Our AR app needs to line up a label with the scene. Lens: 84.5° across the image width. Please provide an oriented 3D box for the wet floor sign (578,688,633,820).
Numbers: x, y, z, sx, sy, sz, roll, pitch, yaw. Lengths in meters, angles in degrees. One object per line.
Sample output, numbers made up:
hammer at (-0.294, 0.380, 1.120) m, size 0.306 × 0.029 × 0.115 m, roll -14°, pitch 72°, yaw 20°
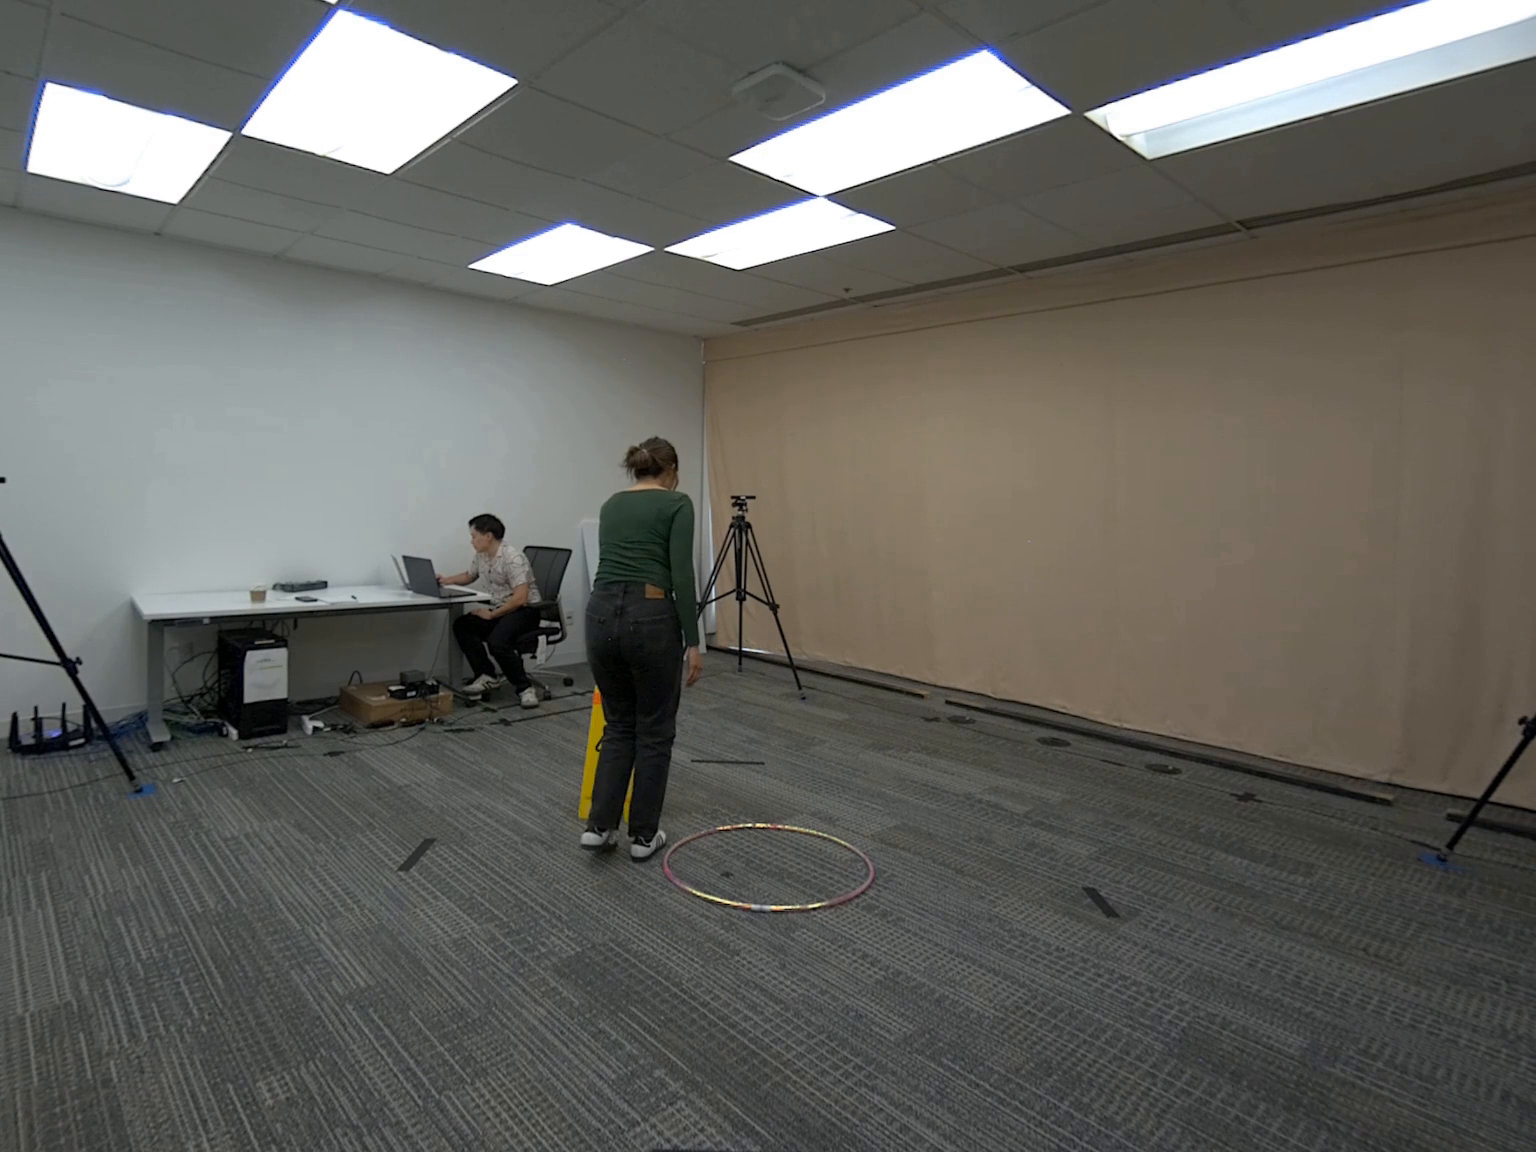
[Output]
wet floor sign at (-0.663, 0.716, 3.722) m, size 0.284 × 0.644 × 0.288 m, roll 2°, pitch 3°, yaw 8°
